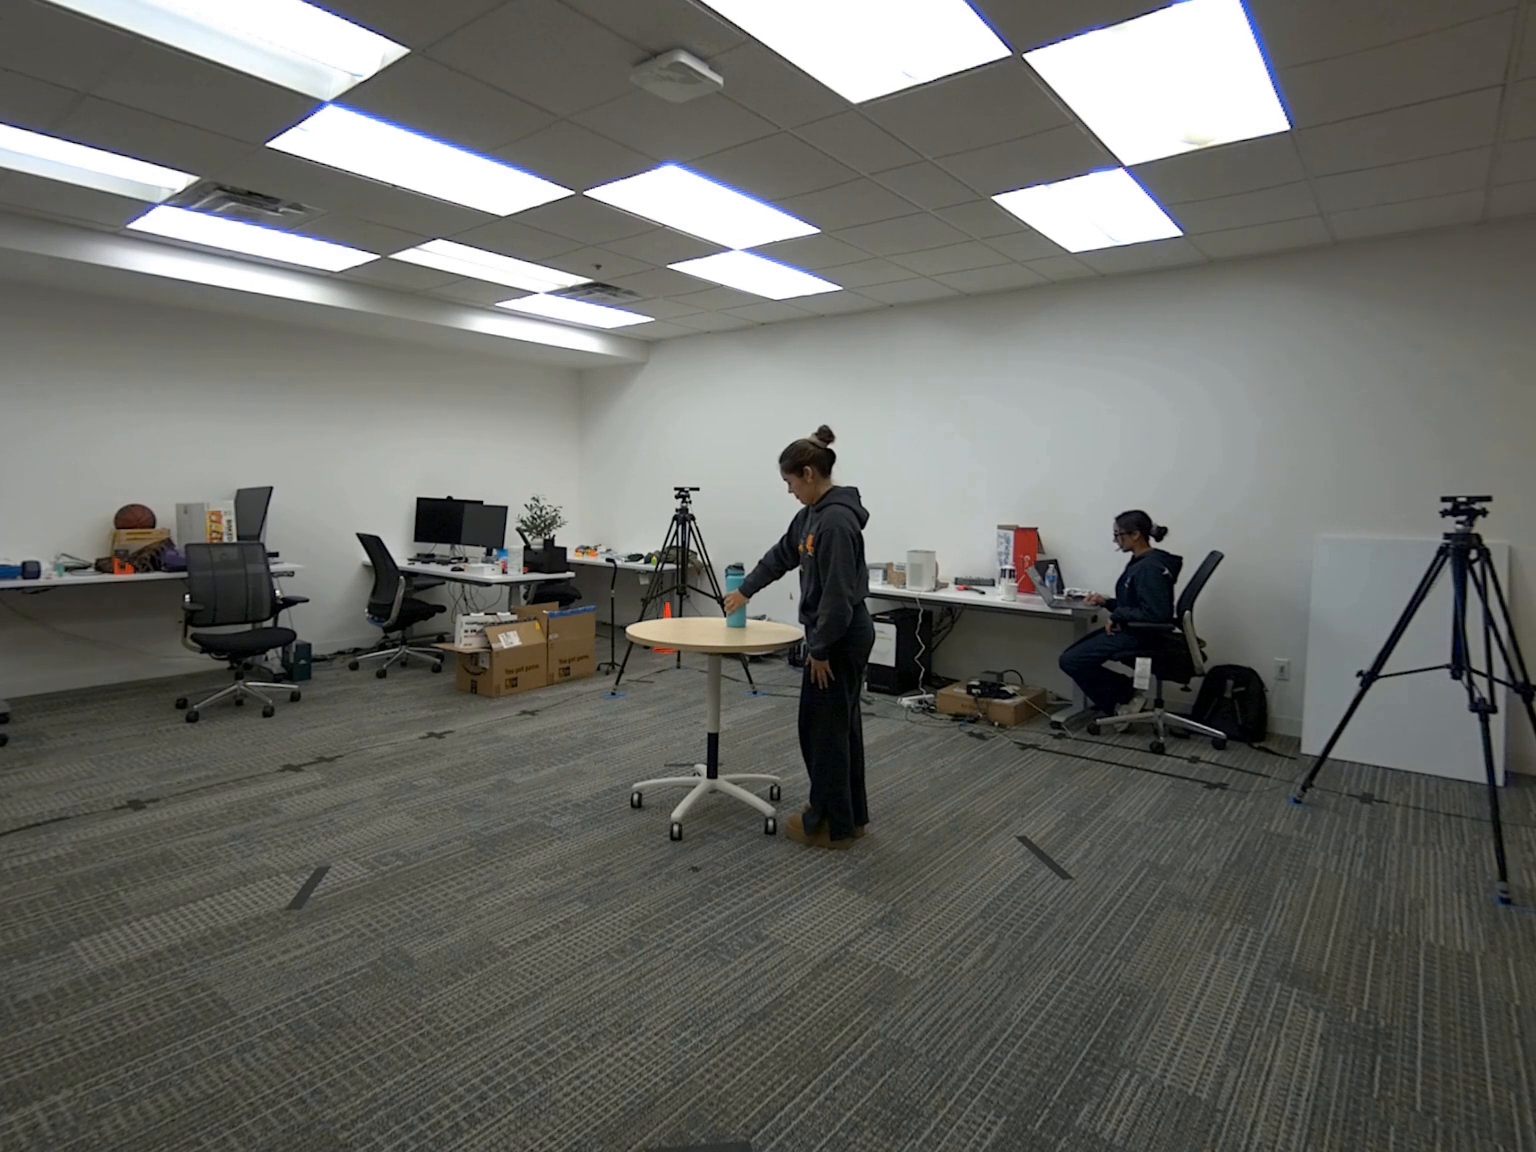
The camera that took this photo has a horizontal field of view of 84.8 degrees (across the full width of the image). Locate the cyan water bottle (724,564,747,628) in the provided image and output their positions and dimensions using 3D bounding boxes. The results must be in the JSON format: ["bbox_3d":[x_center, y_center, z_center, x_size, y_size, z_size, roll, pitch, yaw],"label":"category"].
[{"bbox_3d":[-0.150,0.077,3.784,0.092,0.282,0.093,-2,3,-2],"label":"cyan water bottle"}]
